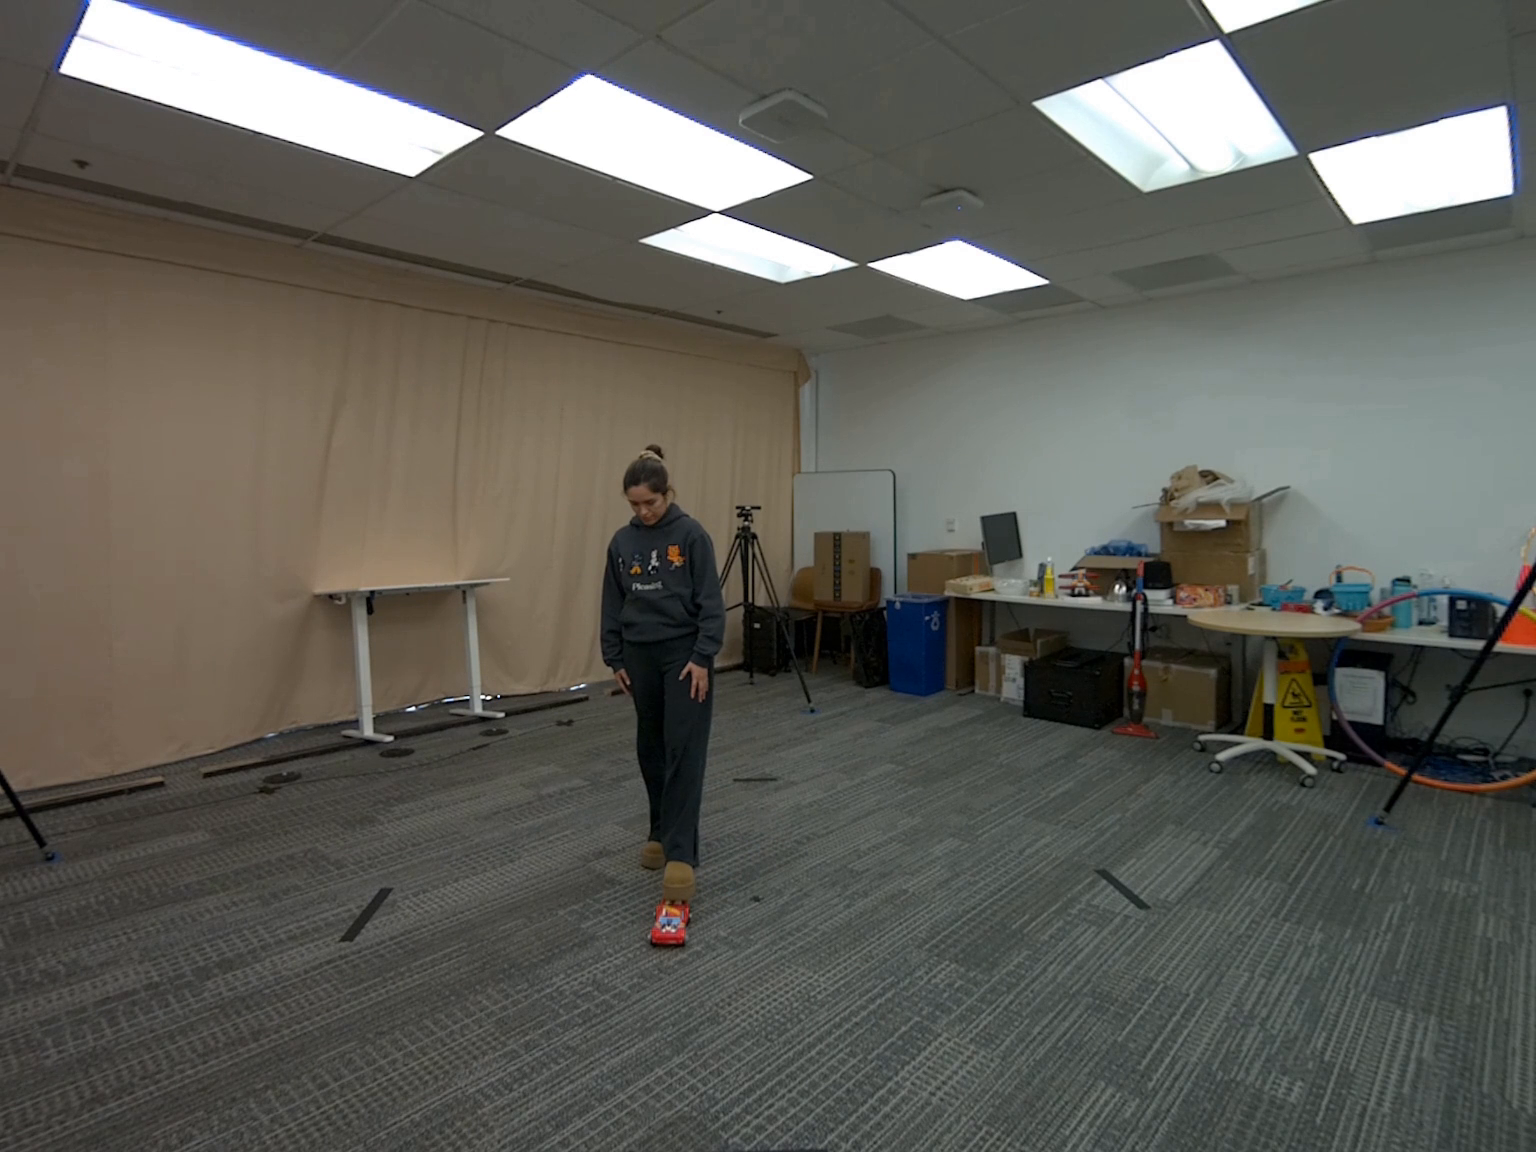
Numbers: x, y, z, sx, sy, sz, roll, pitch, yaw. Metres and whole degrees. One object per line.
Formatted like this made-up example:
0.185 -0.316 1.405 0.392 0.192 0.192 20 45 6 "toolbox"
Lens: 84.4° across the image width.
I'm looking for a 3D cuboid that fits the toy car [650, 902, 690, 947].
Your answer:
-0.308 1.131 2.765 0.130 0.082 0.256 0 14 1 "toy car"
